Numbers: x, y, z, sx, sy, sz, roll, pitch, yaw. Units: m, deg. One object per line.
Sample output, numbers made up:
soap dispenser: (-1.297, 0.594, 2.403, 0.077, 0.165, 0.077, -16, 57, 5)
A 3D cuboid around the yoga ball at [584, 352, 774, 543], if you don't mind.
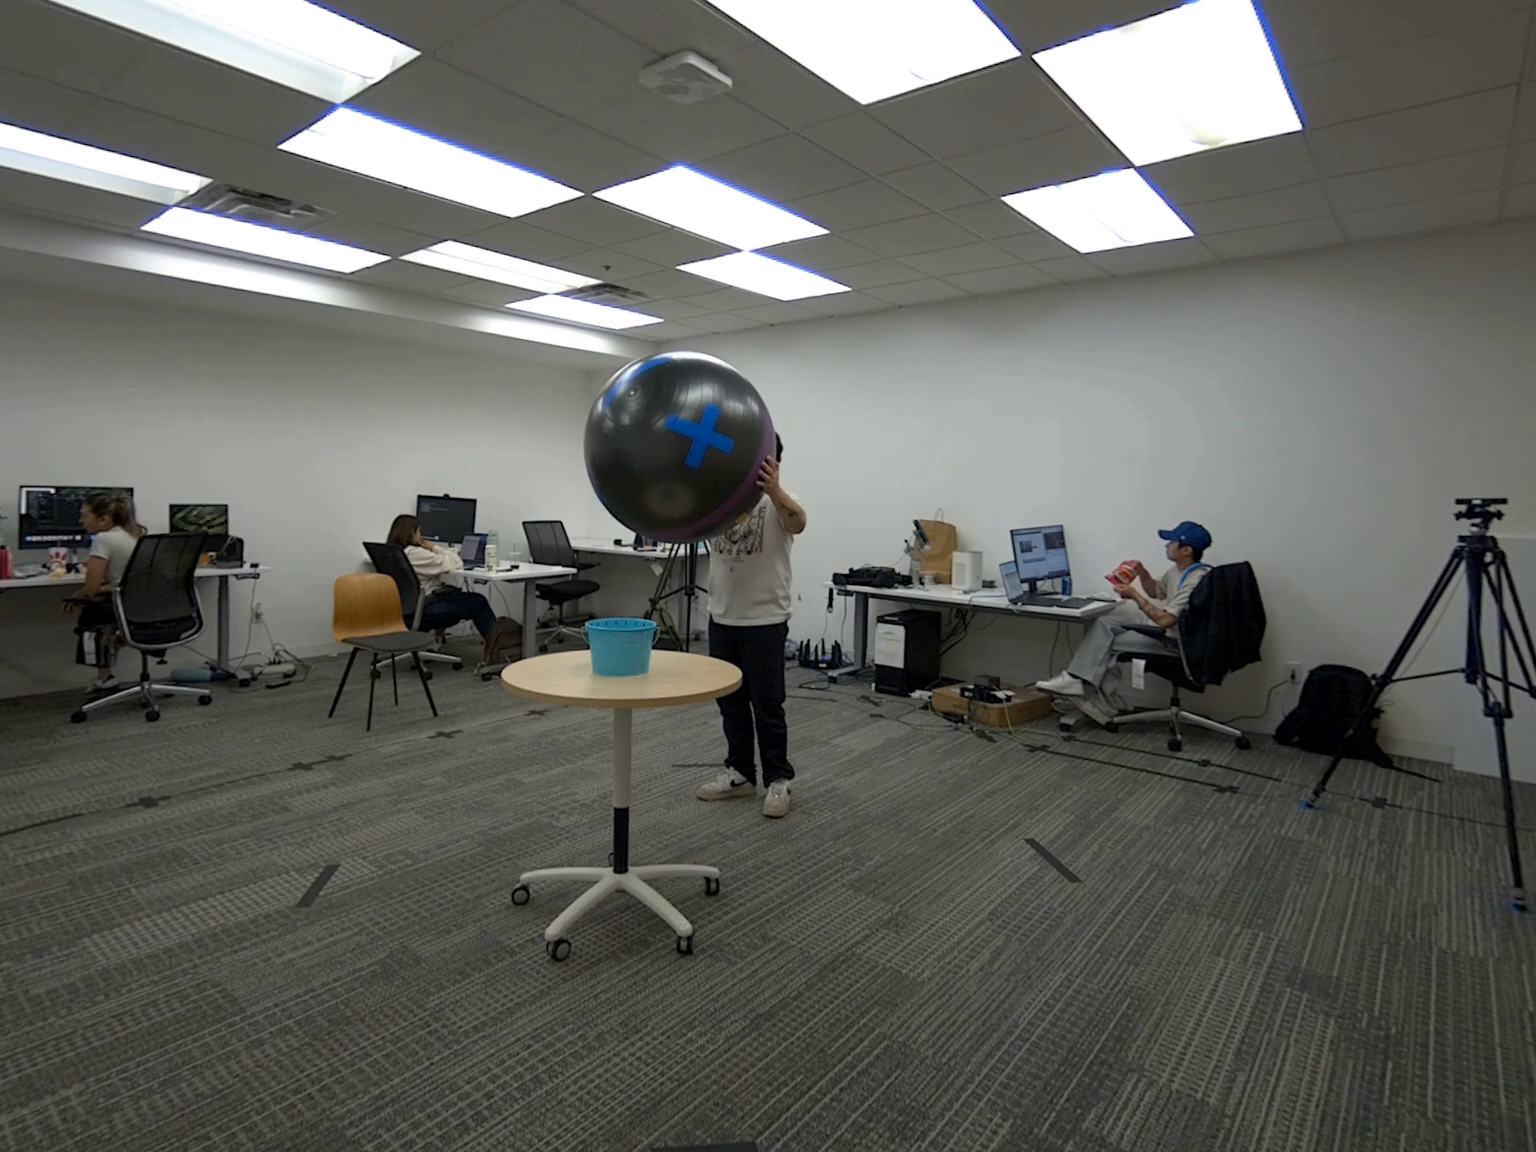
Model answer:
yoga ball: (-0.362, -0.502, 3.365, 0.757, 0.755, 0.762, 1, 4, -2)
